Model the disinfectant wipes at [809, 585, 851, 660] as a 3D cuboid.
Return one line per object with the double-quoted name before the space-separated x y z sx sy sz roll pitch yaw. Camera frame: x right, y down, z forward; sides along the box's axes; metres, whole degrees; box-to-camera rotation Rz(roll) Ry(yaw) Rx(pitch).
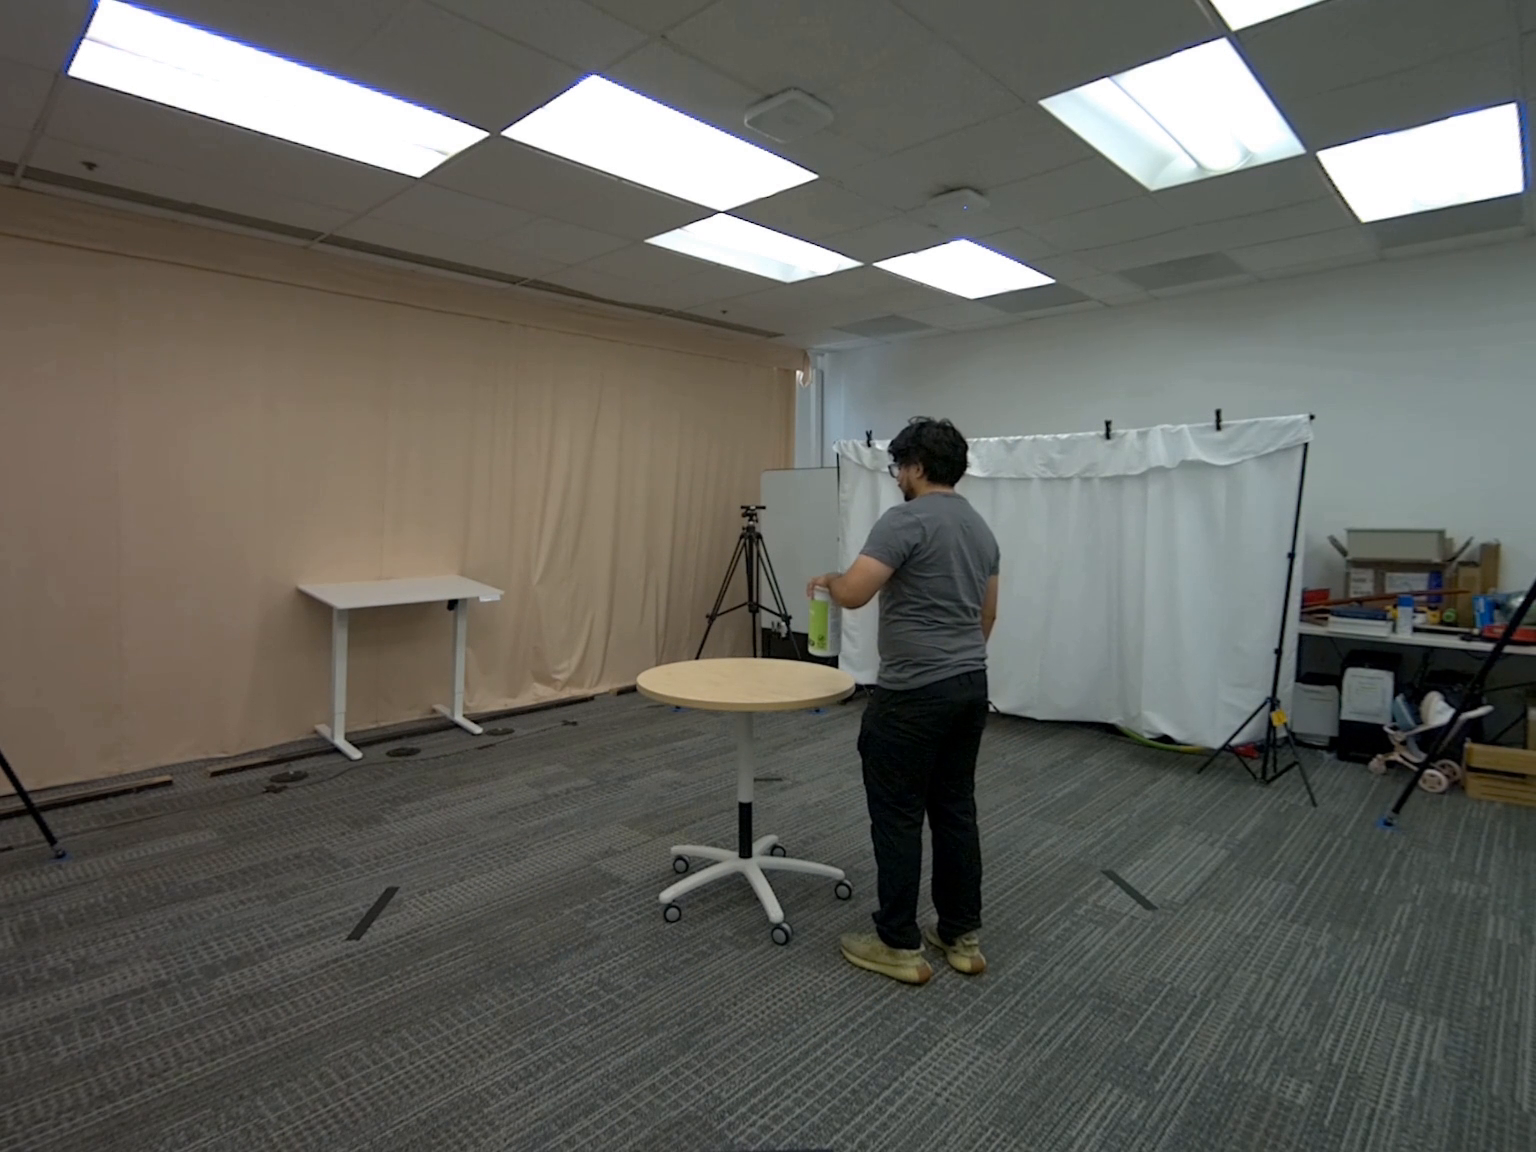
"disinfectant wipes" 0.199 0.146 2.772 0.118 0.216 0.119 -1 10 -2
